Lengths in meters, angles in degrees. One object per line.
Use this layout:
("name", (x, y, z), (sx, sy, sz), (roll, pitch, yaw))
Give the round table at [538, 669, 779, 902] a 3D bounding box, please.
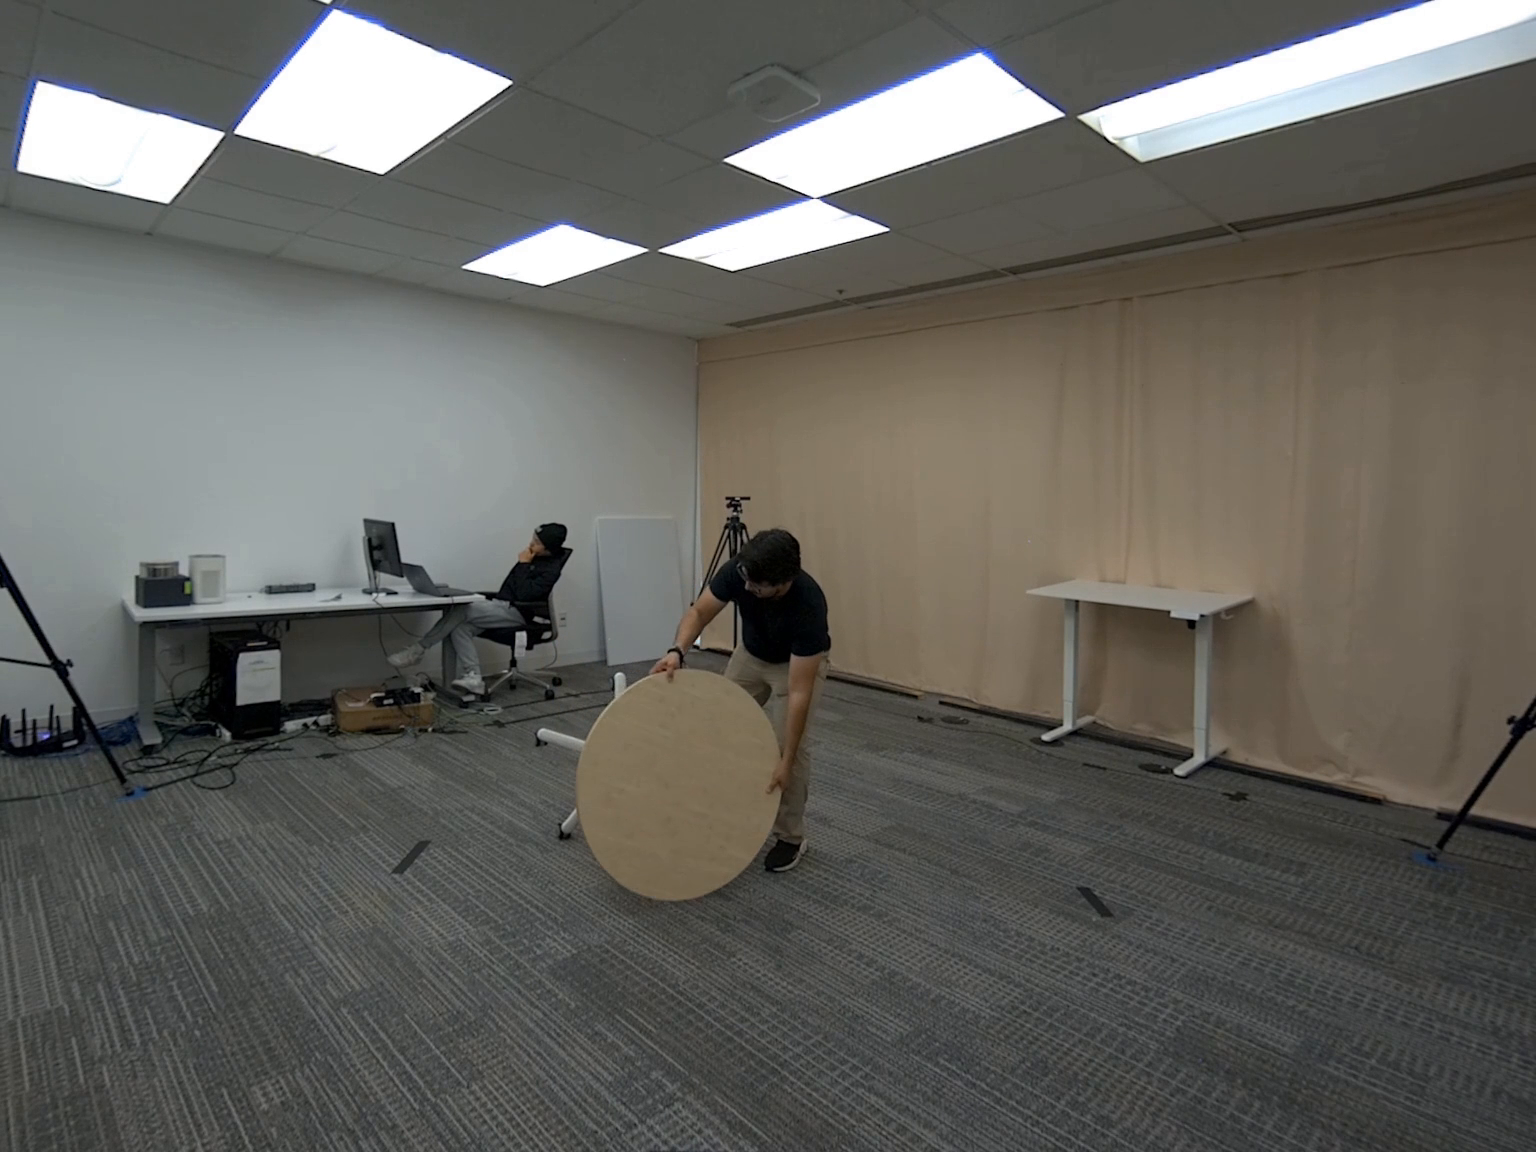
("round table", (-0.486, 0.739, 3.221), (0.770, 0.789, 0.798), (-1, -6, -29))
